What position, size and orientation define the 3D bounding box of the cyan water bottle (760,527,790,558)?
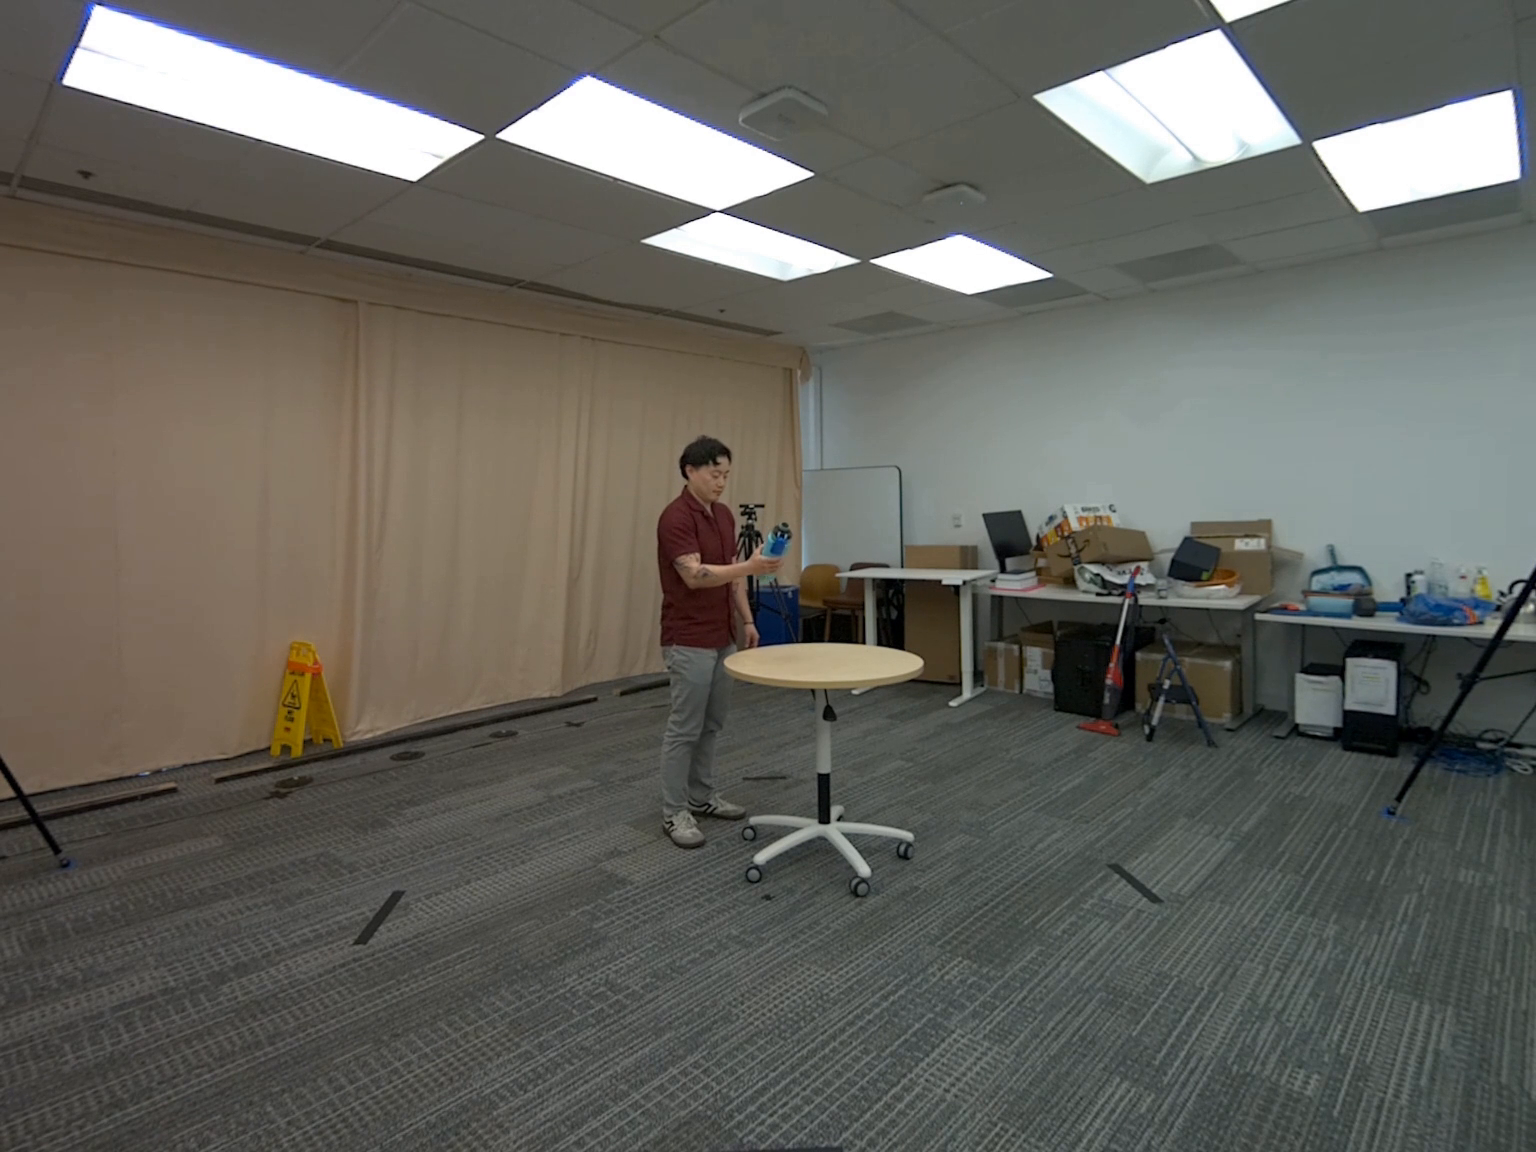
[{"bbox_3d":[0.030,-0.088,3.277,0.090,0.095,0.282,-2,-36,-23],"label":"cyan water bottle"}]
